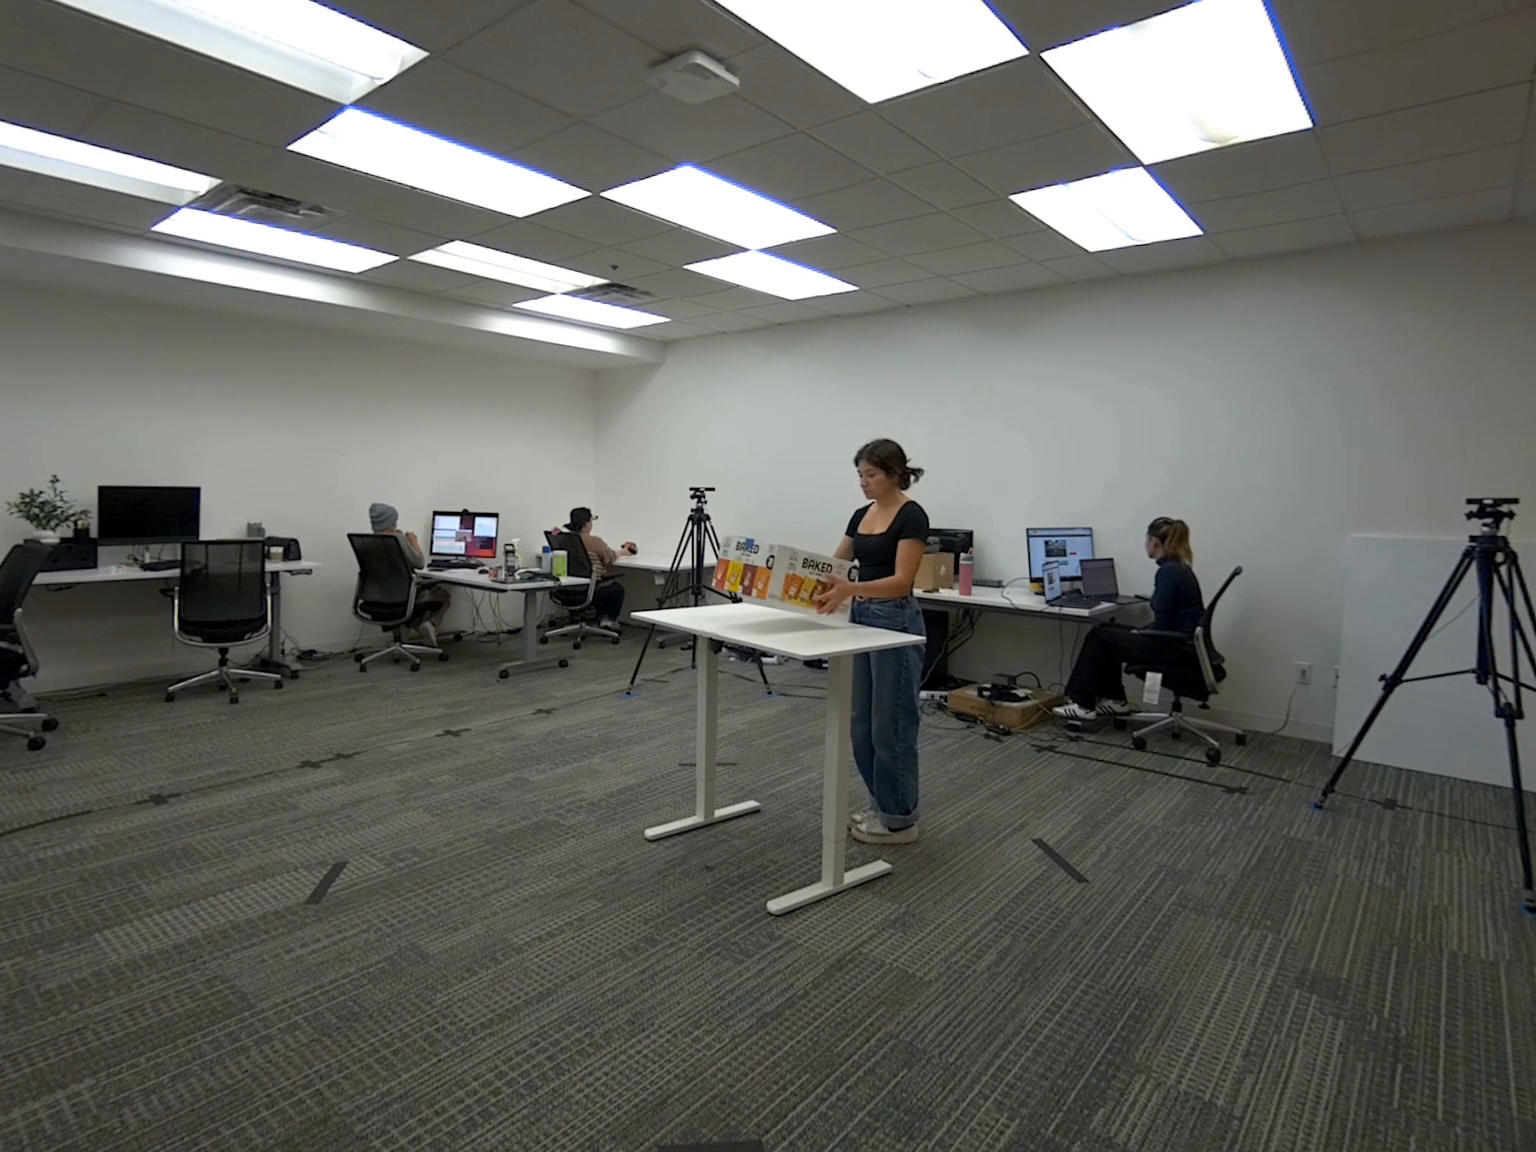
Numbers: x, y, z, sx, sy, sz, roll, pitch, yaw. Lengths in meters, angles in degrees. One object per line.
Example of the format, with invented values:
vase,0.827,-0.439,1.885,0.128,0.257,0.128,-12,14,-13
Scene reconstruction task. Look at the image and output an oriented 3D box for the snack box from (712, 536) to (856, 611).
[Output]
snack box,0.055,-0.008,3.188,0.391,0.206,0.352,13,0,-37
